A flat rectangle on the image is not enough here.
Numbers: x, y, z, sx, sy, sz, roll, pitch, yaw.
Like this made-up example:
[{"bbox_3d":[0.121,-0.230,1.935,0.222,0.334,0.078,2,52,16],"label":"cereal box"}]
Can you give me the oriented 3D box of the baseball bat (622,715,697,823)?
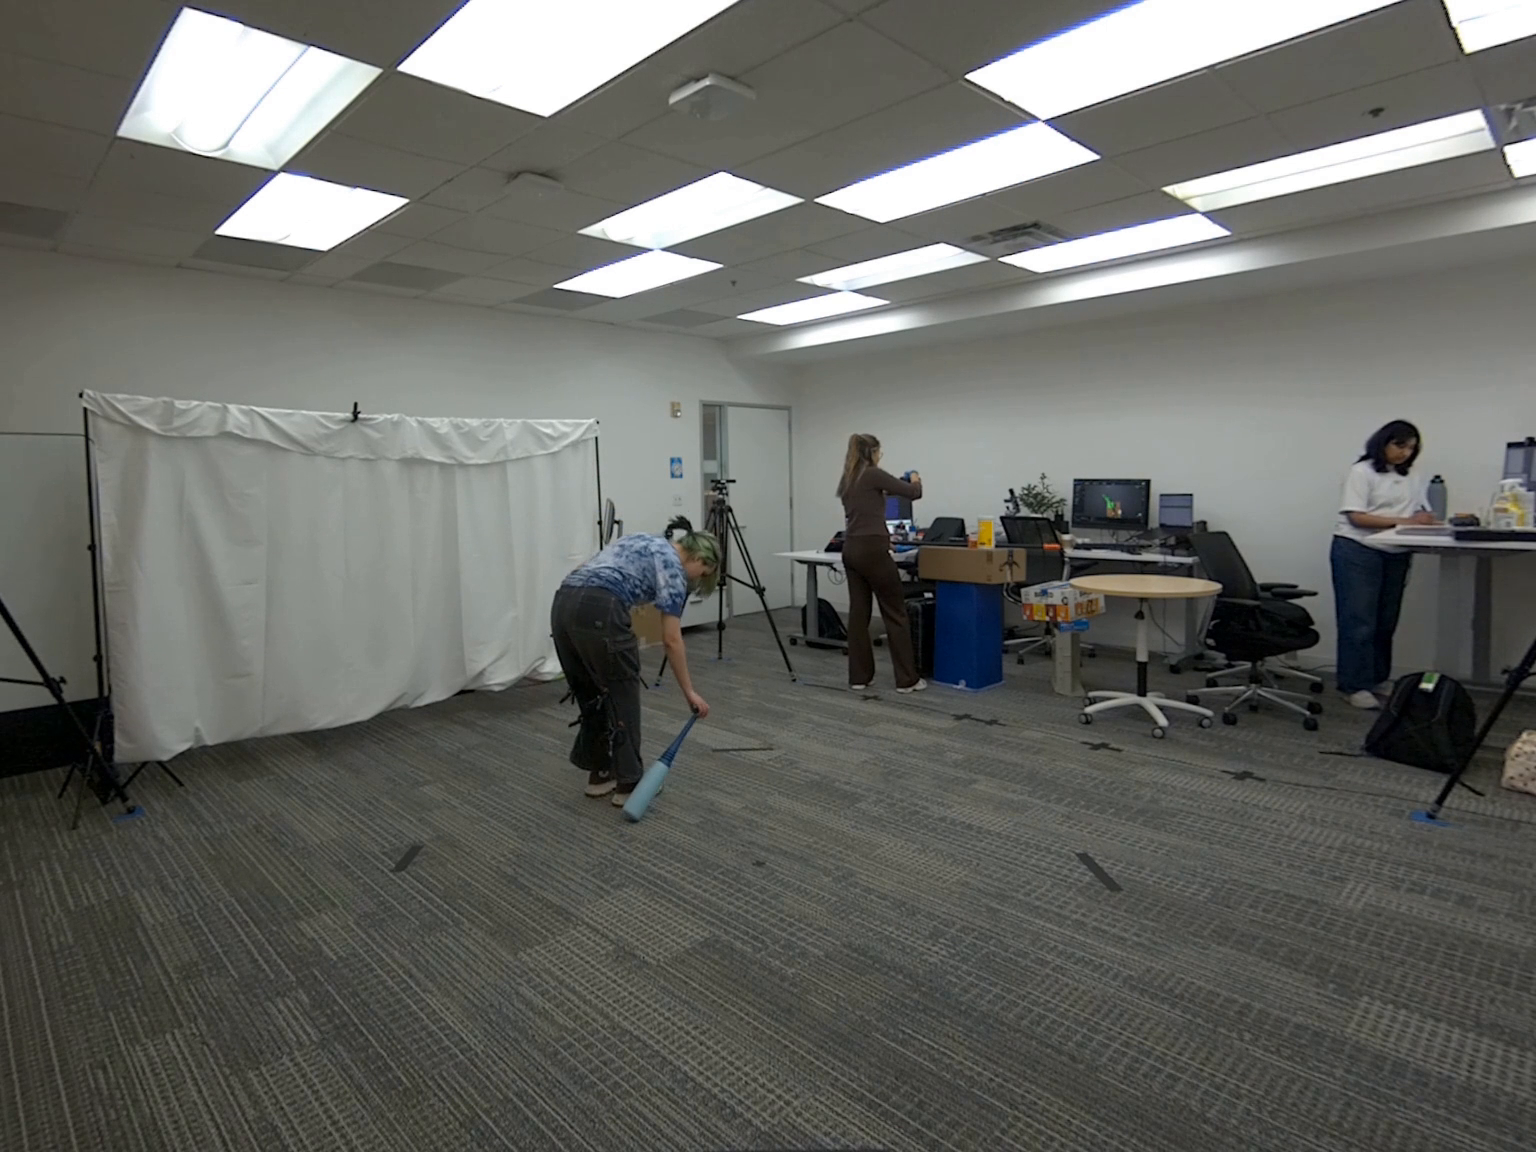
[{"bbox_3d":[-0.438,0.792,3.631,0.092,0.545,0.086,3,-40,45],"label":"baseball bat"}]
